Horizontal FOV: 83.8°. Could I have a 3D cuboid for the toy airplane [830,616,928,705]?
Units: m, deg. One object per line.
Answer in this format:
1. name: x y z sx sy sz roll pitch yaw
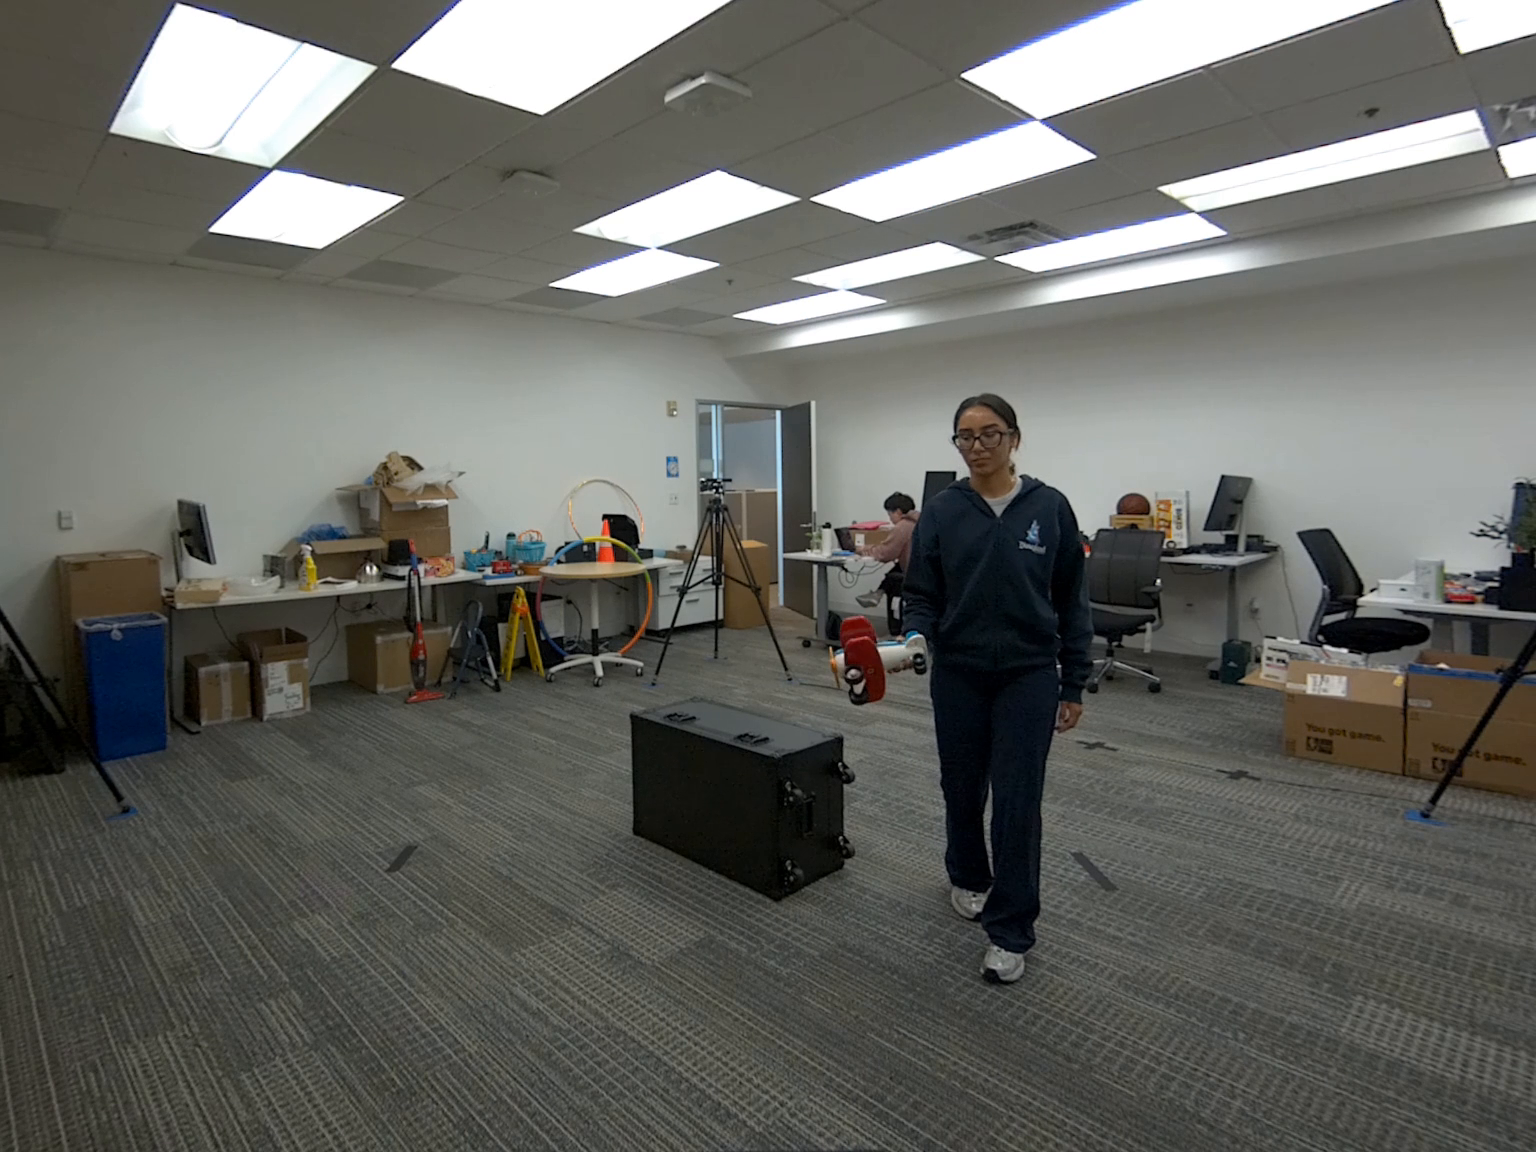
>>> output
1. toy airplane: 0.310 0.237 2.308 0.254 0.247 0.162 2 36 -22
